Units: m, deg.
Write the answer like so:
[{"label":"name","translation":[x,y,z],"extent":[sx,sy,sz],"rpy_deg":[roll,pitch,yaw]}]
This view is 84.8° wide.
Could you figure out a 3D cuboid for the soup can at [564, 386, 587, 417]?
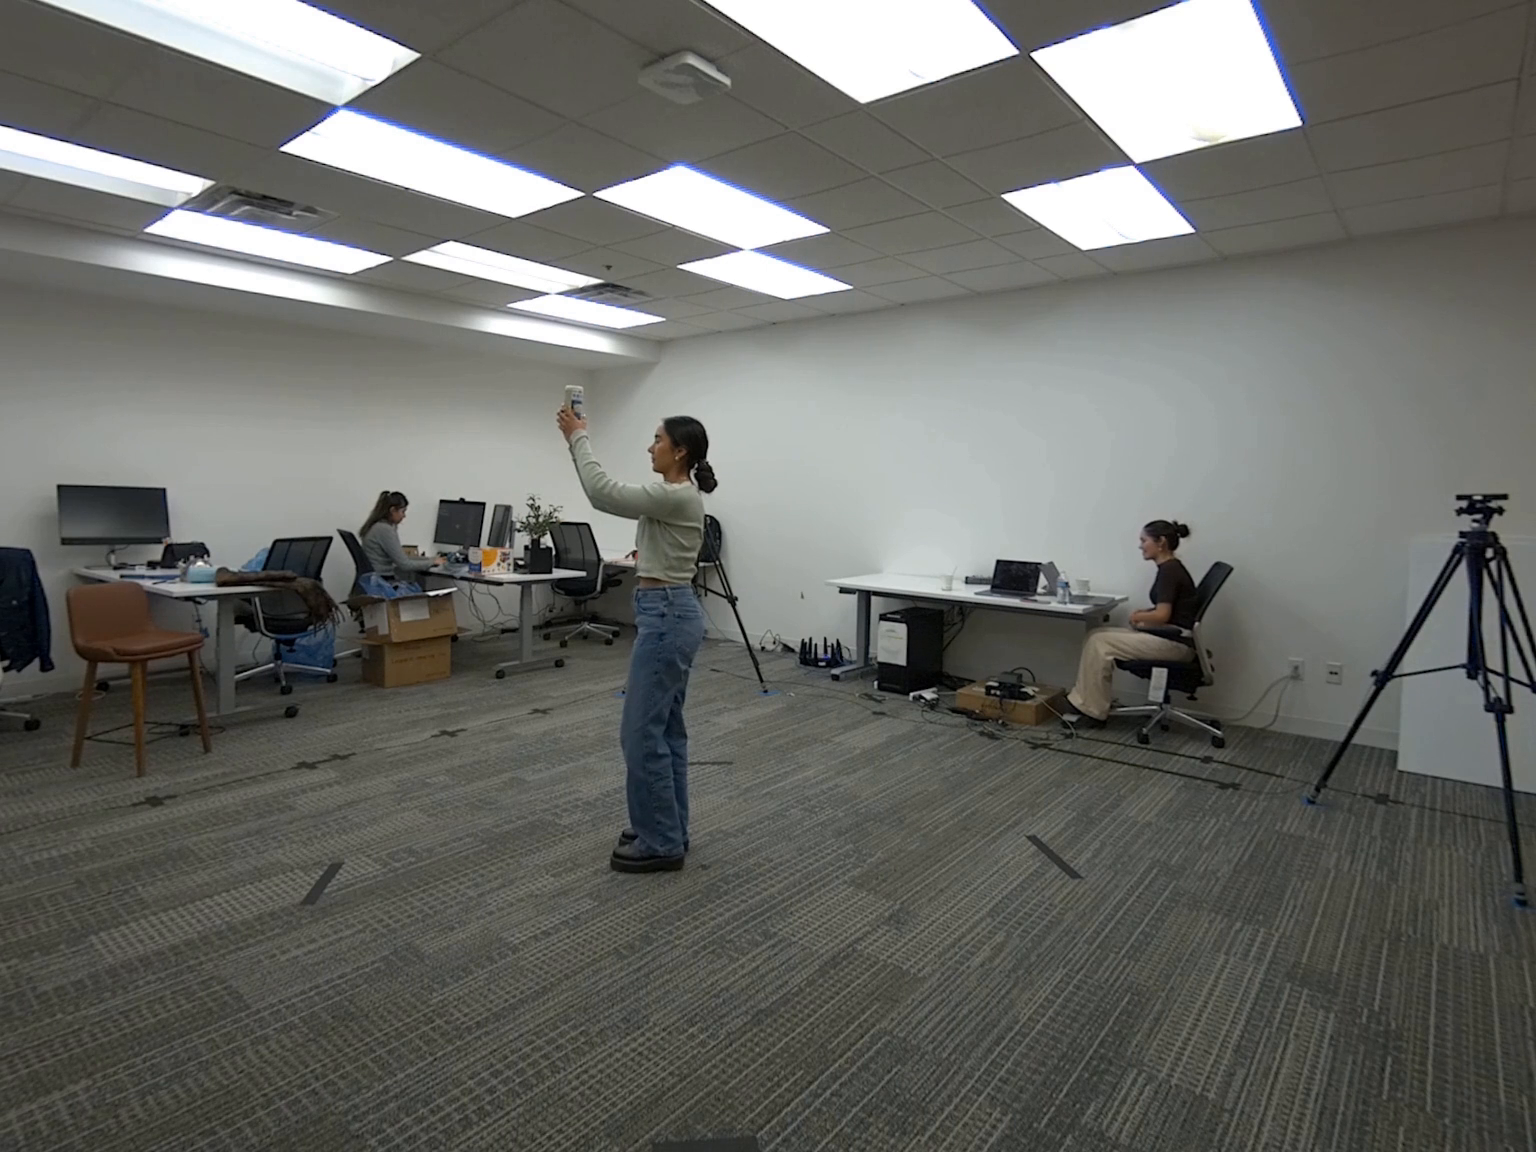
[{"label":"soup can","translation":[-0.739,-0.658,3.211],"extent":[0.067,0.121,0.067],"rpy_deg":[4,4,-2]}]
